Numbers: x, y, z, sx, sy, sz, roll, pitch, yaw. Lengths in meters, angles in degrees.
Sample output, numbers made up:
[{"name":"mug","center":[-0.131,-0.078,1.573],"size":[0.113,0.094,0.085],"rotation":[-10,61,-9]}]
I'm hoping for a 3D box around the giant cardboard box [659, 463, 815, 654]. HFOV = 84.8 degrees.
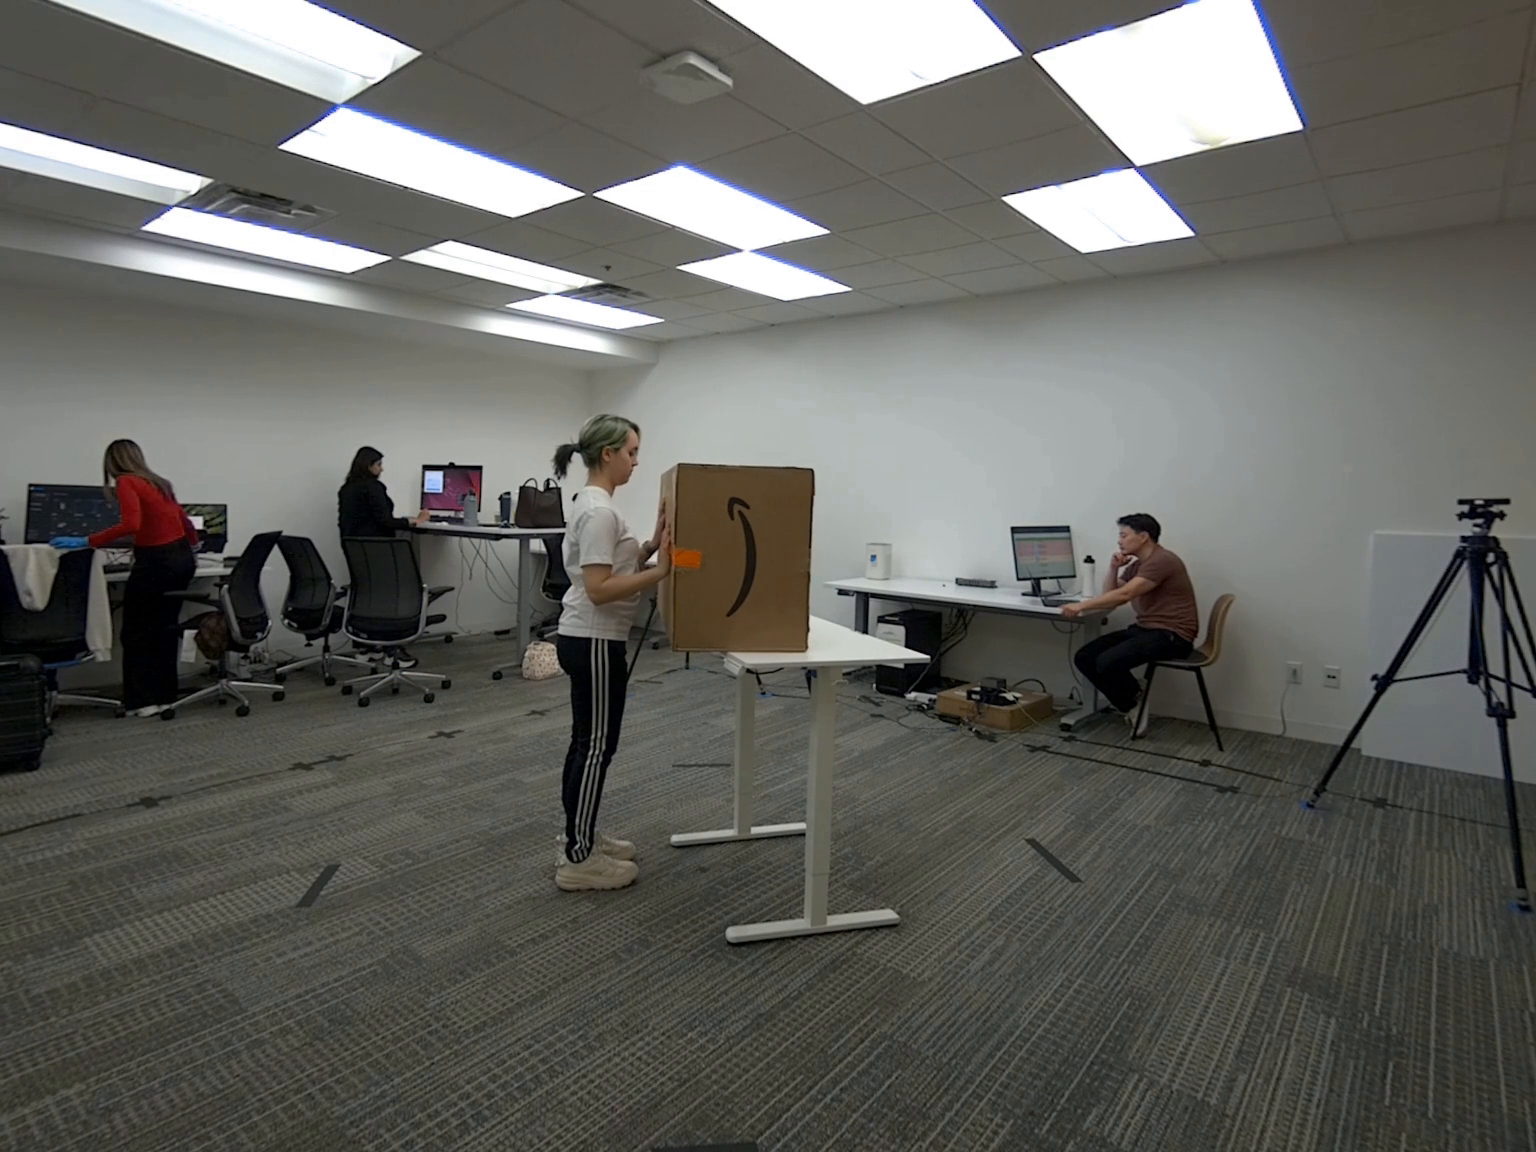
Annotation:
[{"name":"giant cardboard box","center":[-0.171,-0.108,3.118],"size":[0.442,0.582,1.040],"rotation":[1,4,-10]}]
